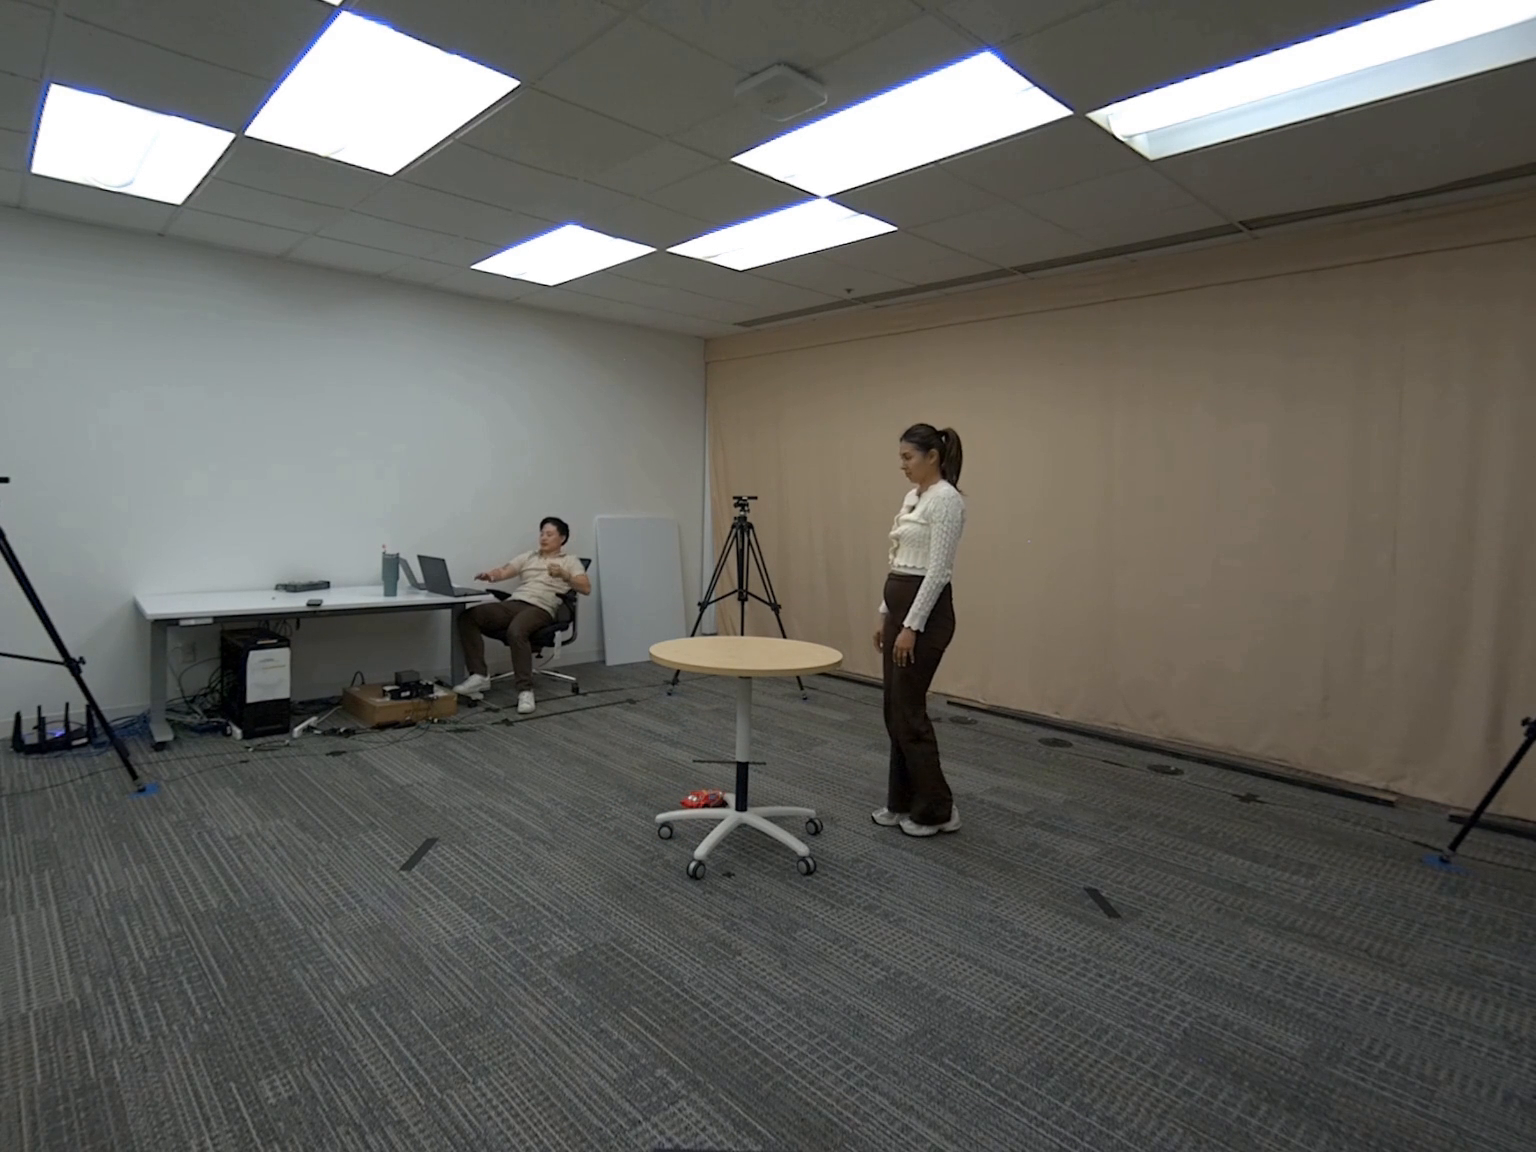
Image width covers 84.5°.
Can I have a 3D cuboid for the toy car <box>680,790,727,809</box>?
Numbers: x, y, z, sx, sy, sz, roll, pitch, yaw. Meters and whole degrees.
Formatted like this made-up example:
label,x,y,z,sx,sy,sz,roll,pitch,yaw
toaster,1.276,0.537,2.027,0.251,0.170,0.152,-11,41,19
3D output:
label,x,y,z,sx,sy,sz,roll,pitch,yaw
toy car,-0.291,1.005,3.775,0.133,0.083,0.247,5,-5,39
